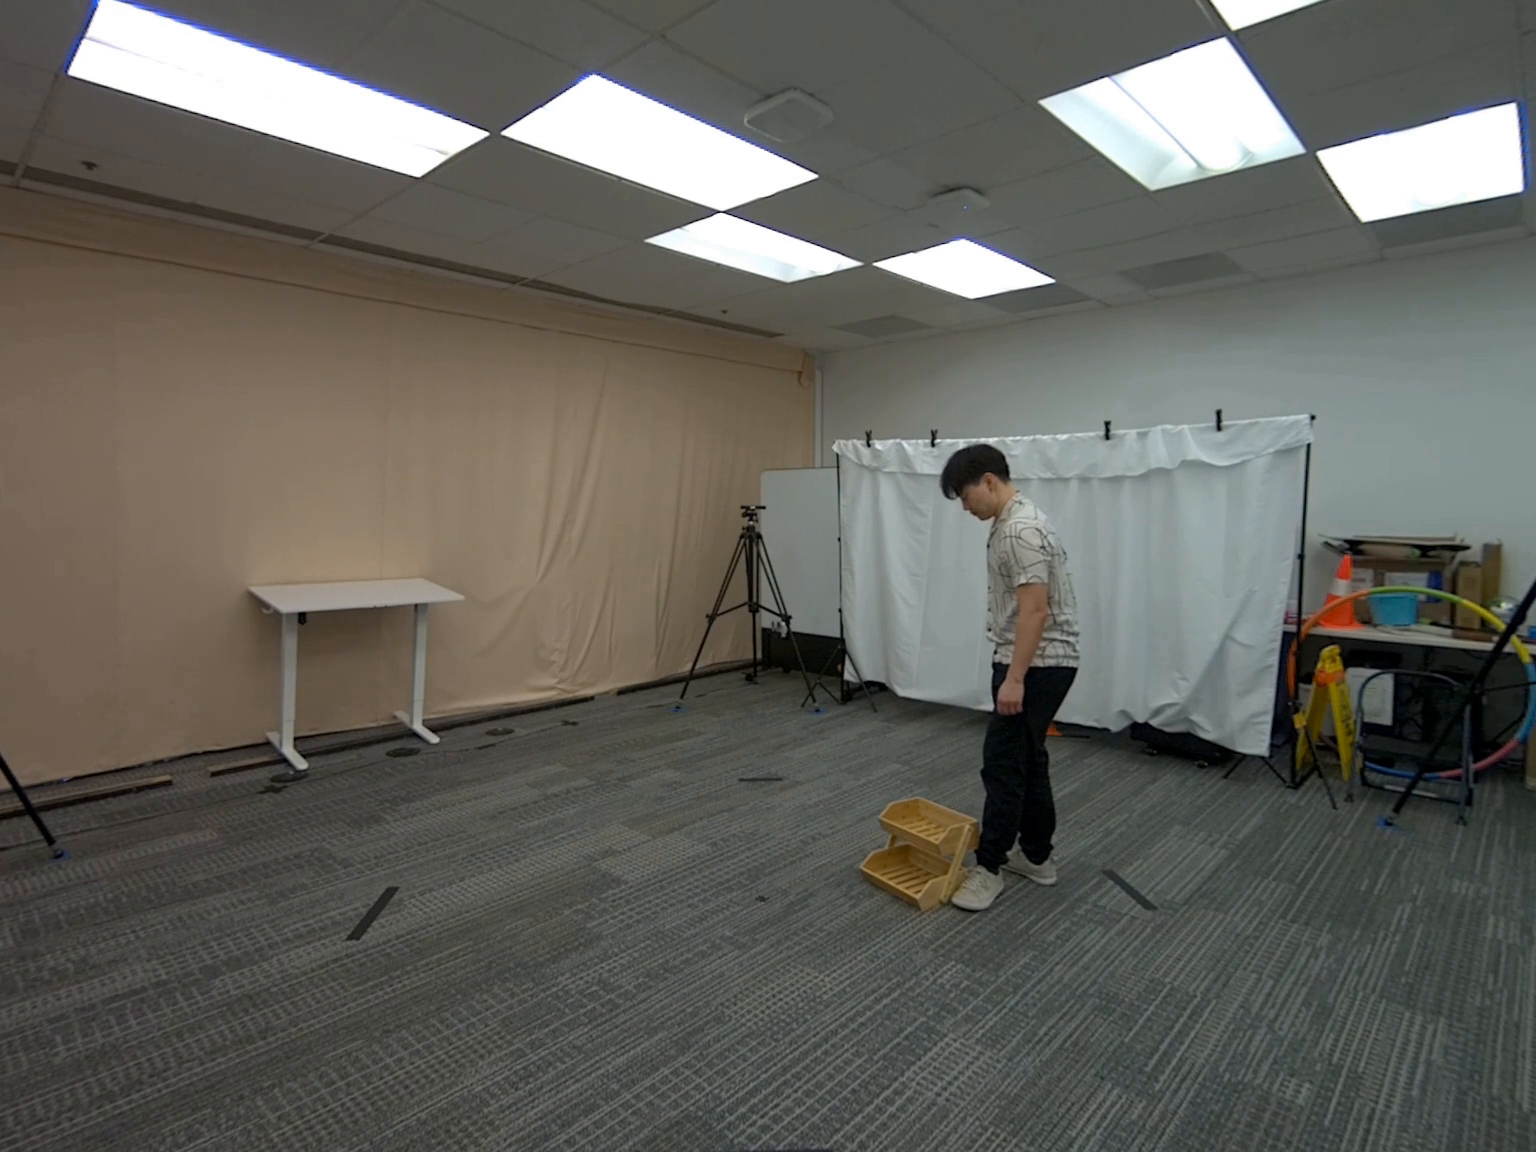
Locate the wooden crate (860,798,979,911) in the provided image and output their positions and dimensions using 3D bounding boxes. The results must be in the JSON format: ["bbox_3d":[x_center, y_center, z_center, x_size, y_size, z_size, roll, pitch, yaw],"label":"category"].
[{"bbox_3d":[0.555,1.003,3.077,0.293,0.273,0.334,-1,4,-34],"label":"wooden crate"}]
